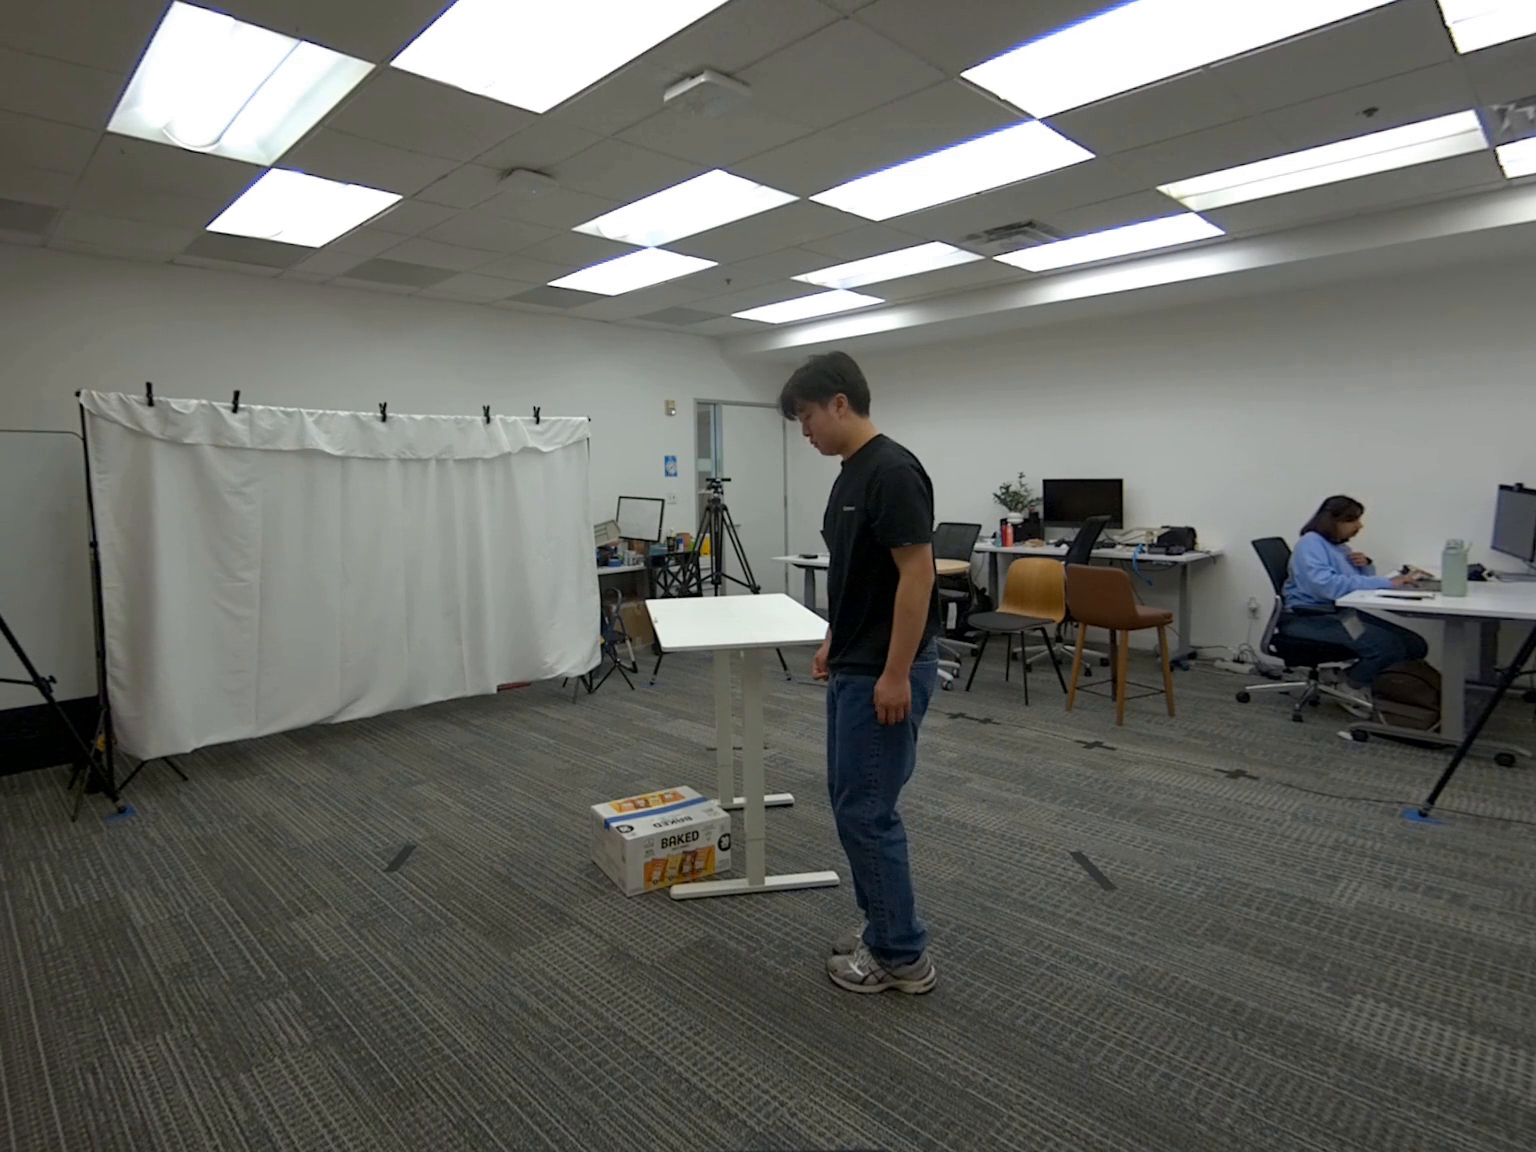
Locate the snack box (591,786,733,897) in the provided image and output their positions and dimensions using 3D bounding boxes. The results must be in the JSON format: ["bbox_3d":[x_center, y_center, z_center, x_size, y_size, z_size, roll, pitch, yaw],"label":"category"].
[{"bbox_3d":[-0.391,0.948,3.091,0.395,0.205,0.350,-4,7,-31],"label":"snack box"}]
